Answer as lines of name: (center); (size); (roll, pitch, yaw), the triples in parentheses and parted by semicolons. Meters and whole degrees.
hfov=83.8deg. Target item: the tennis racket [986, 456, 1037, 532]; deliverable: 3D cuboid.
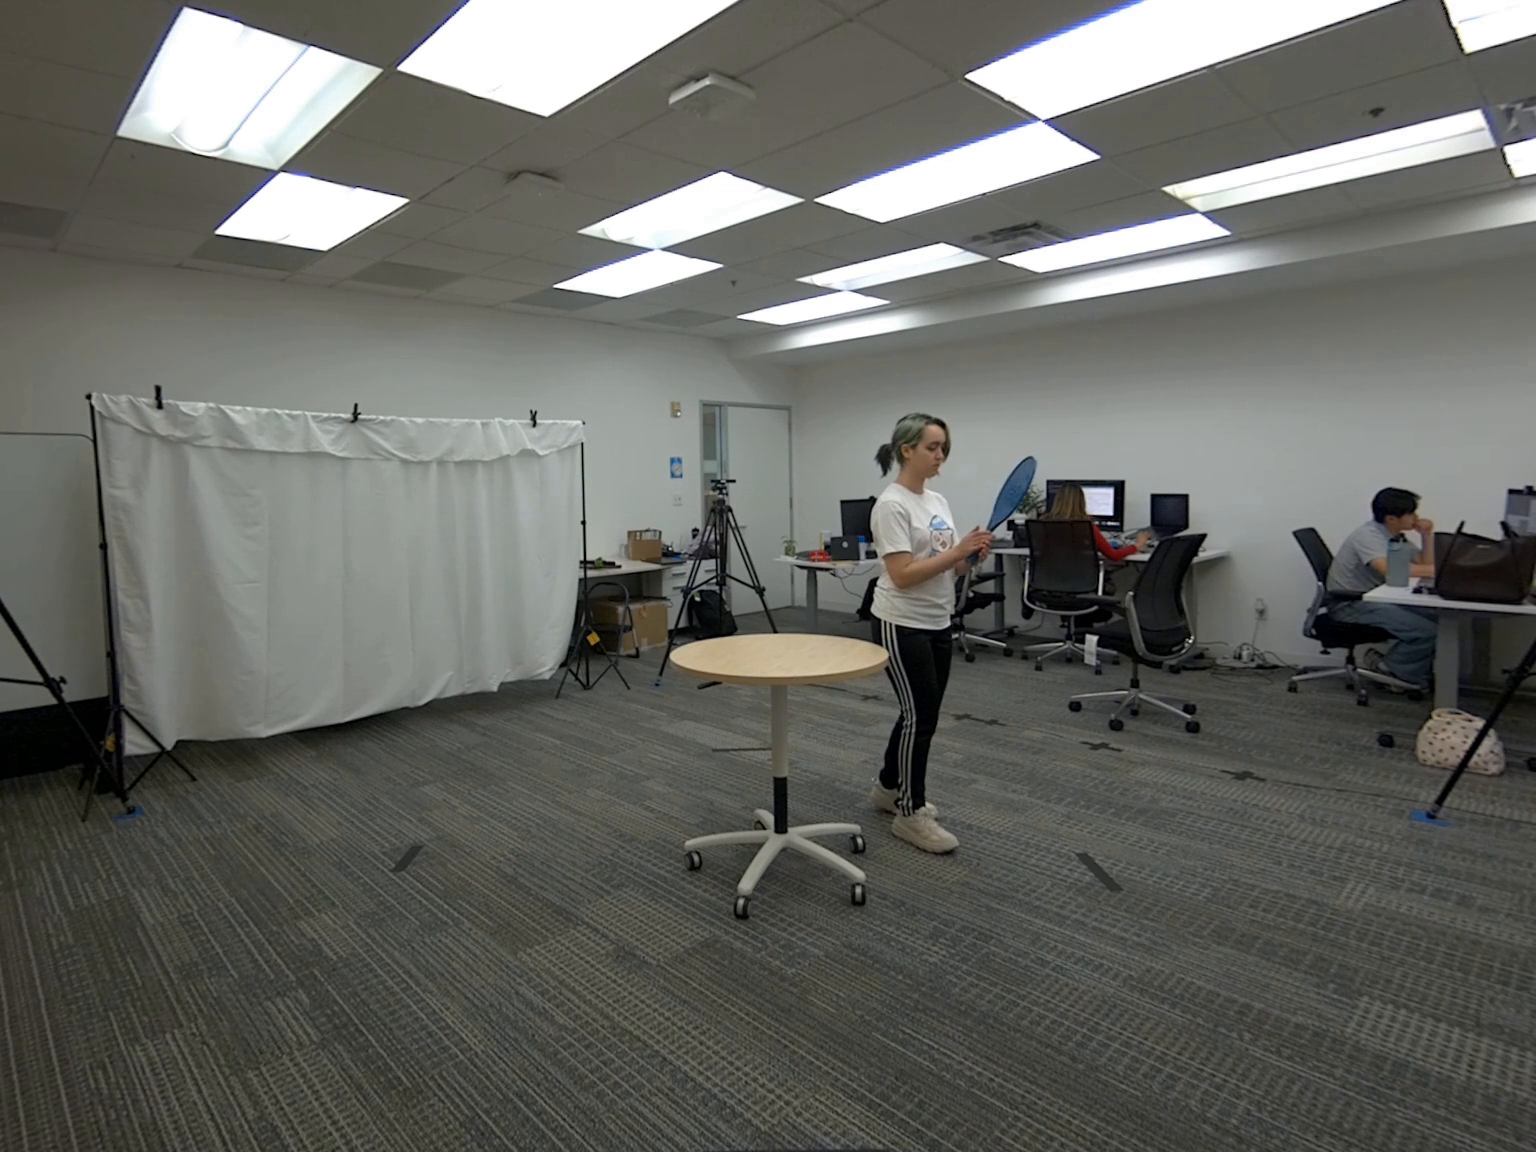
tennis racket: (0.825, -0.231, 3.034); (0.031, 0.429, 0.217); (23, 21, -7)
